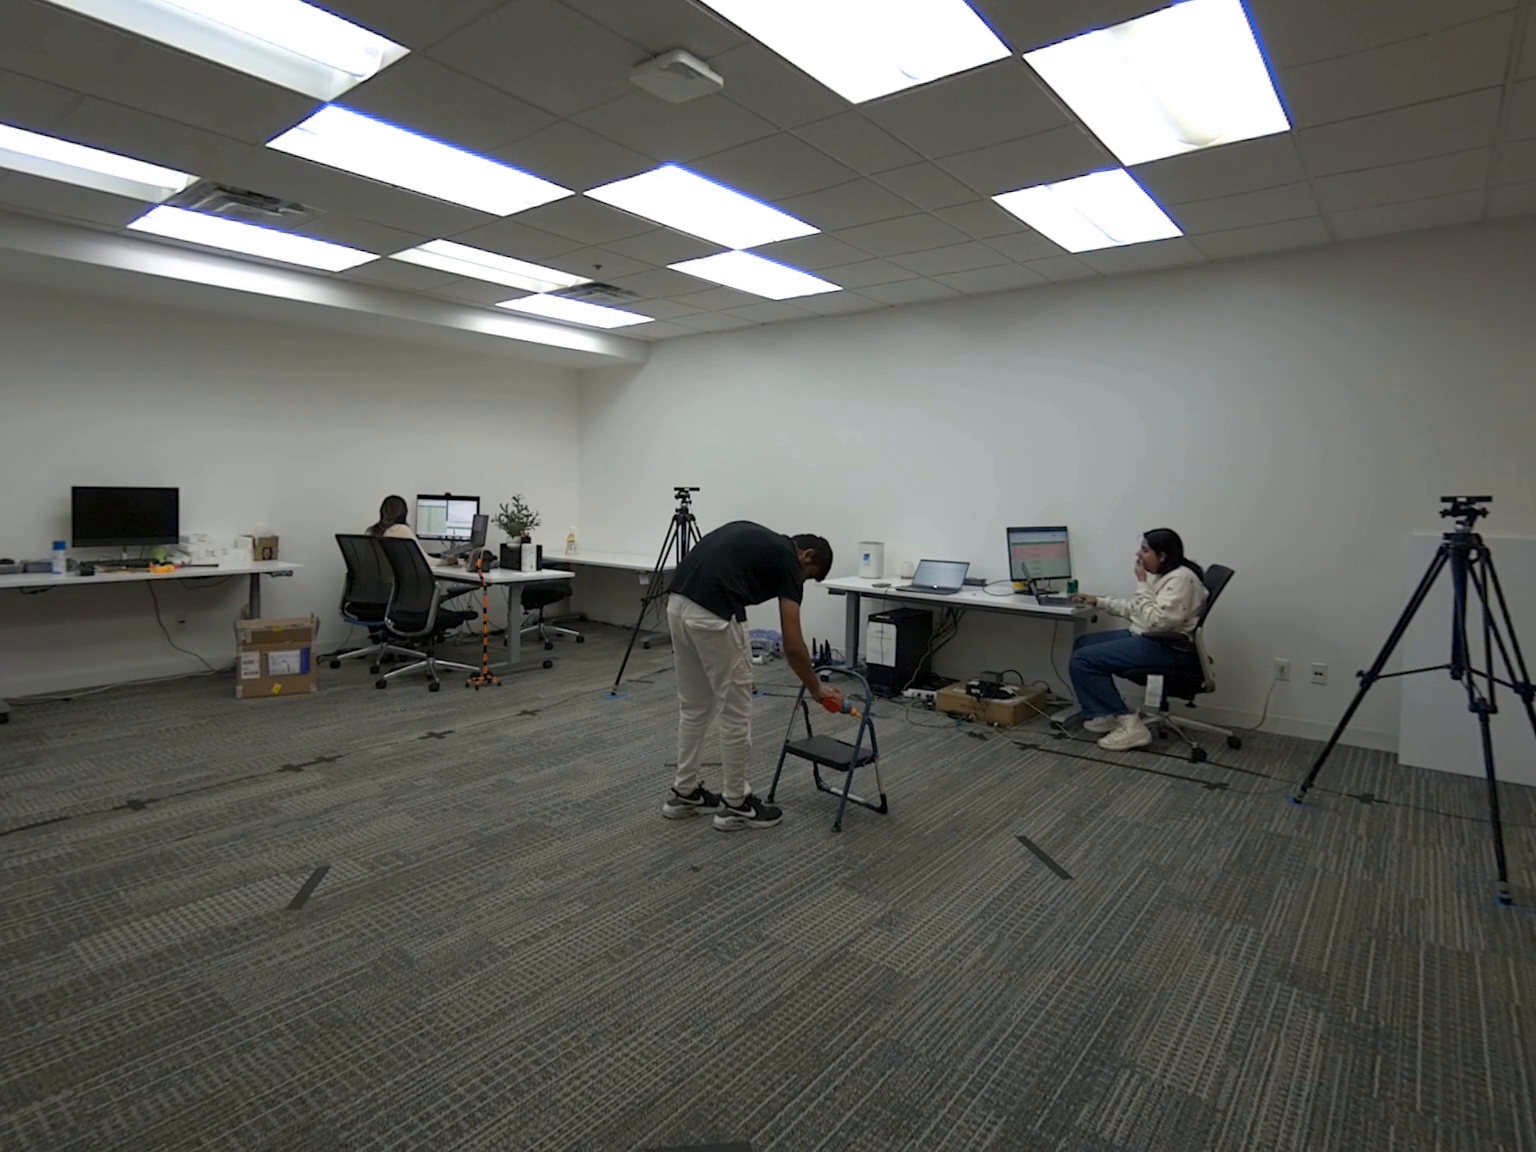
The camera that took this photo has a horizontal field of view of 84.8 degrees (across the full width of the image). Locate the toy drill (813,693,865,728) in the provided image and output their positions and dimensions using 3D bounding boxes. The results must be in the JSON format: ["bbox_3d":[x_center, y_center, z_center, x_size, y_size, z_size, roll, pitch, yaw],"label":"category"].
[{"bbox_3d":[0.301,0.557,3.582,0.175,0.061,0.143,26,13,21],"label":"toy drill"}]
